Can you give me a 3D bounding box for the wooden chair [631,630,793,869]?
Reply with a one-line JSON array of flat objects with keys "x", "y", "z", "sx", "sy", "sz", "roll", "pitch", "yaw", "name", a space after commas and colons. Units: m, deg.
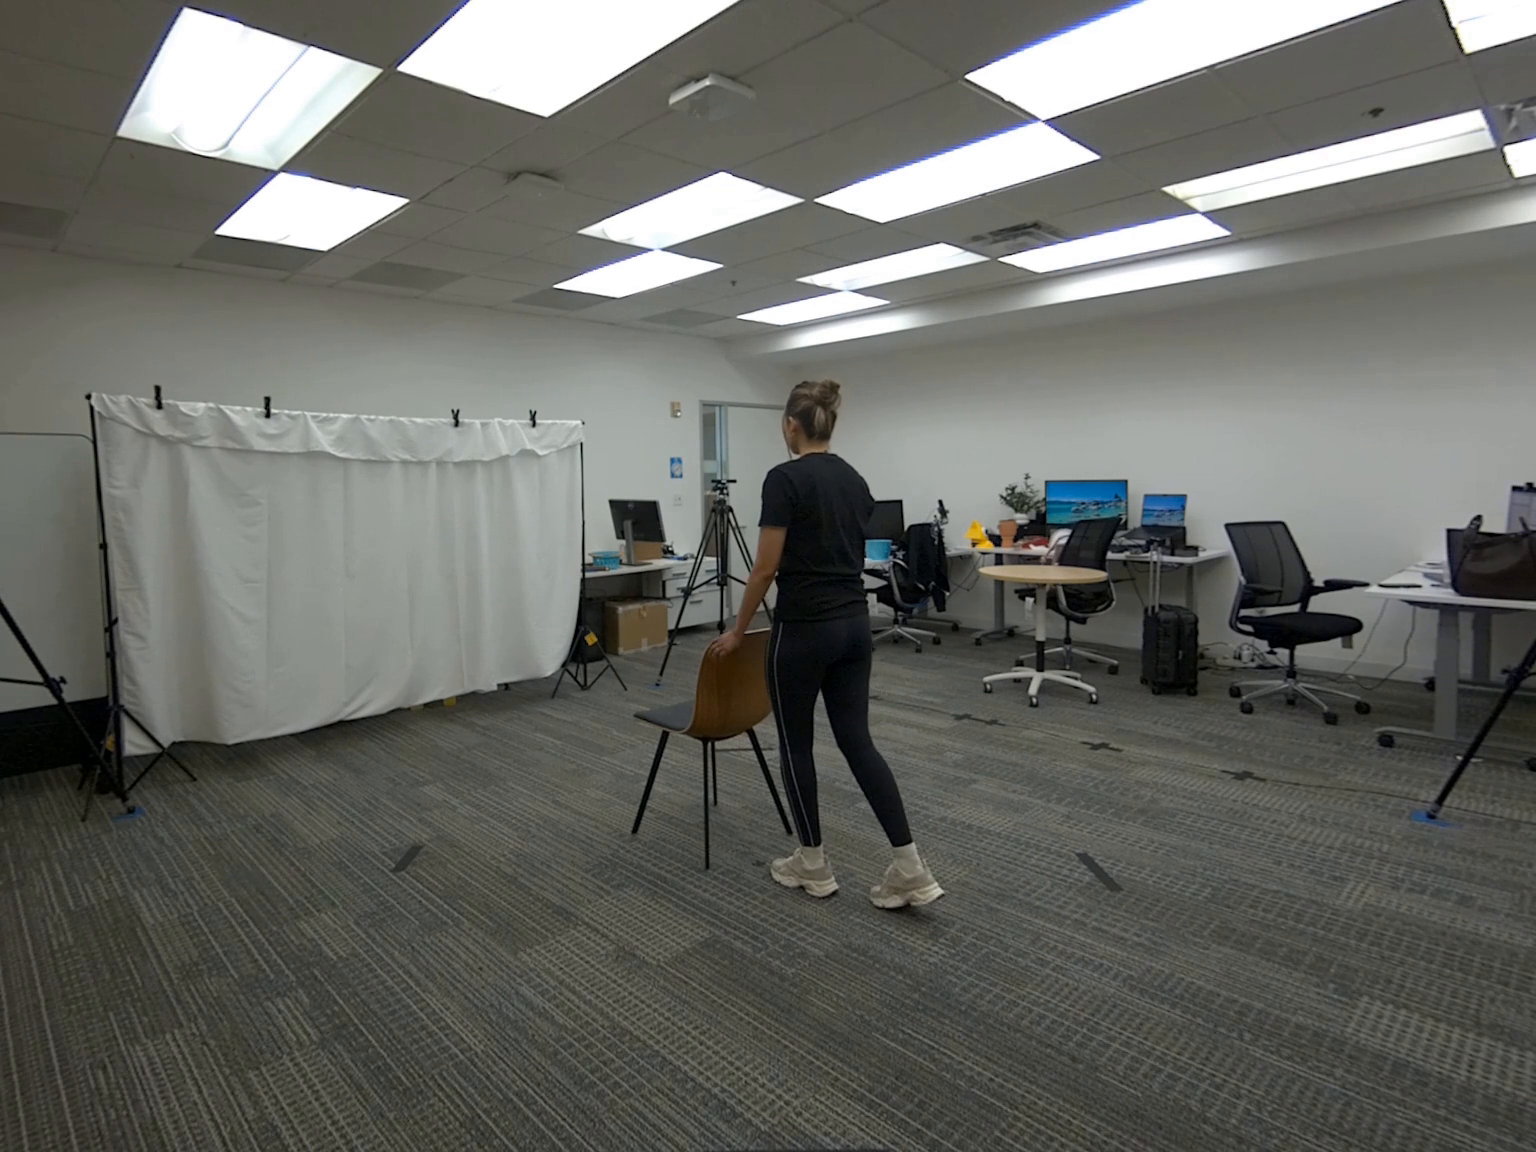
[{"x": -0.235, "y": 0.595, "z": 3.353, "sx": 0.465, "sy": 0.872, "sz": 0.540, "roll": -5, "pitch": 10, "yaw": -44, "name": "wooden chair"}]
